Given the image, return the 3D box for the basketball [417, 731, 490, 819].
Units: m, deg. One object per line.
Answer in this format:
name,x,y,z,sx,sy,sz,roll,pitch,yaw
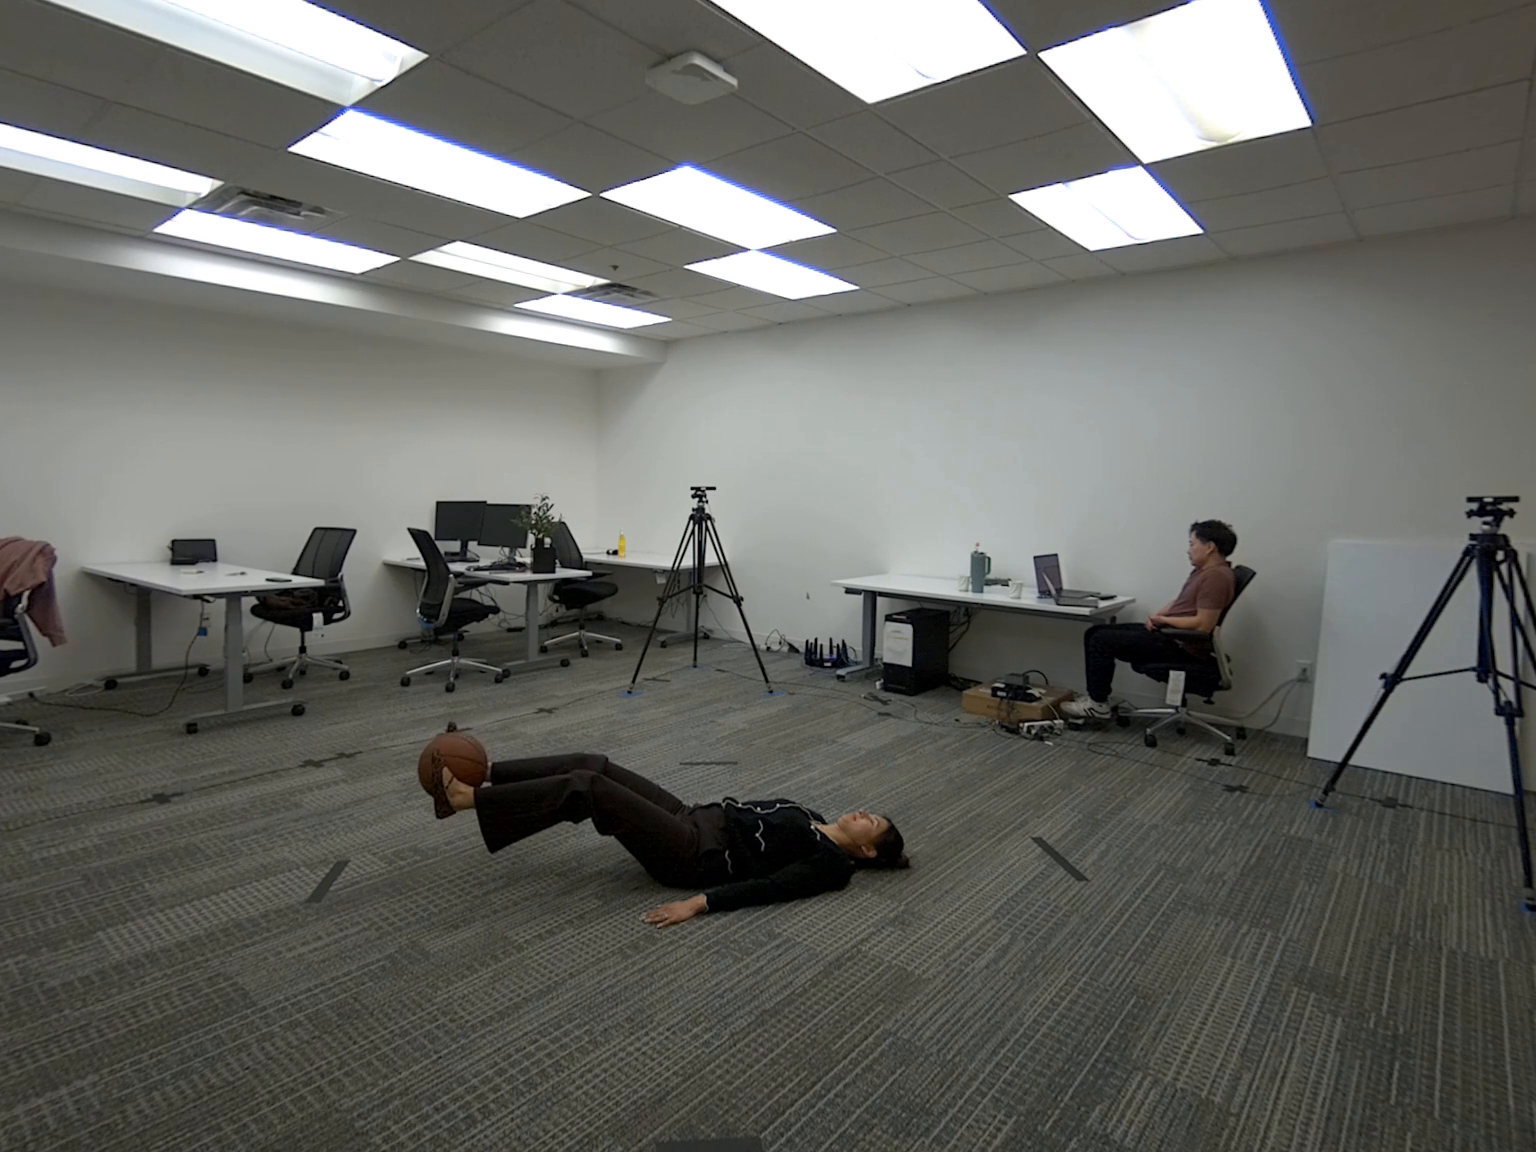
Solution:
basketball,-1.118,0.665,2.978,0.236,0.234,0.238,0,7,-2
